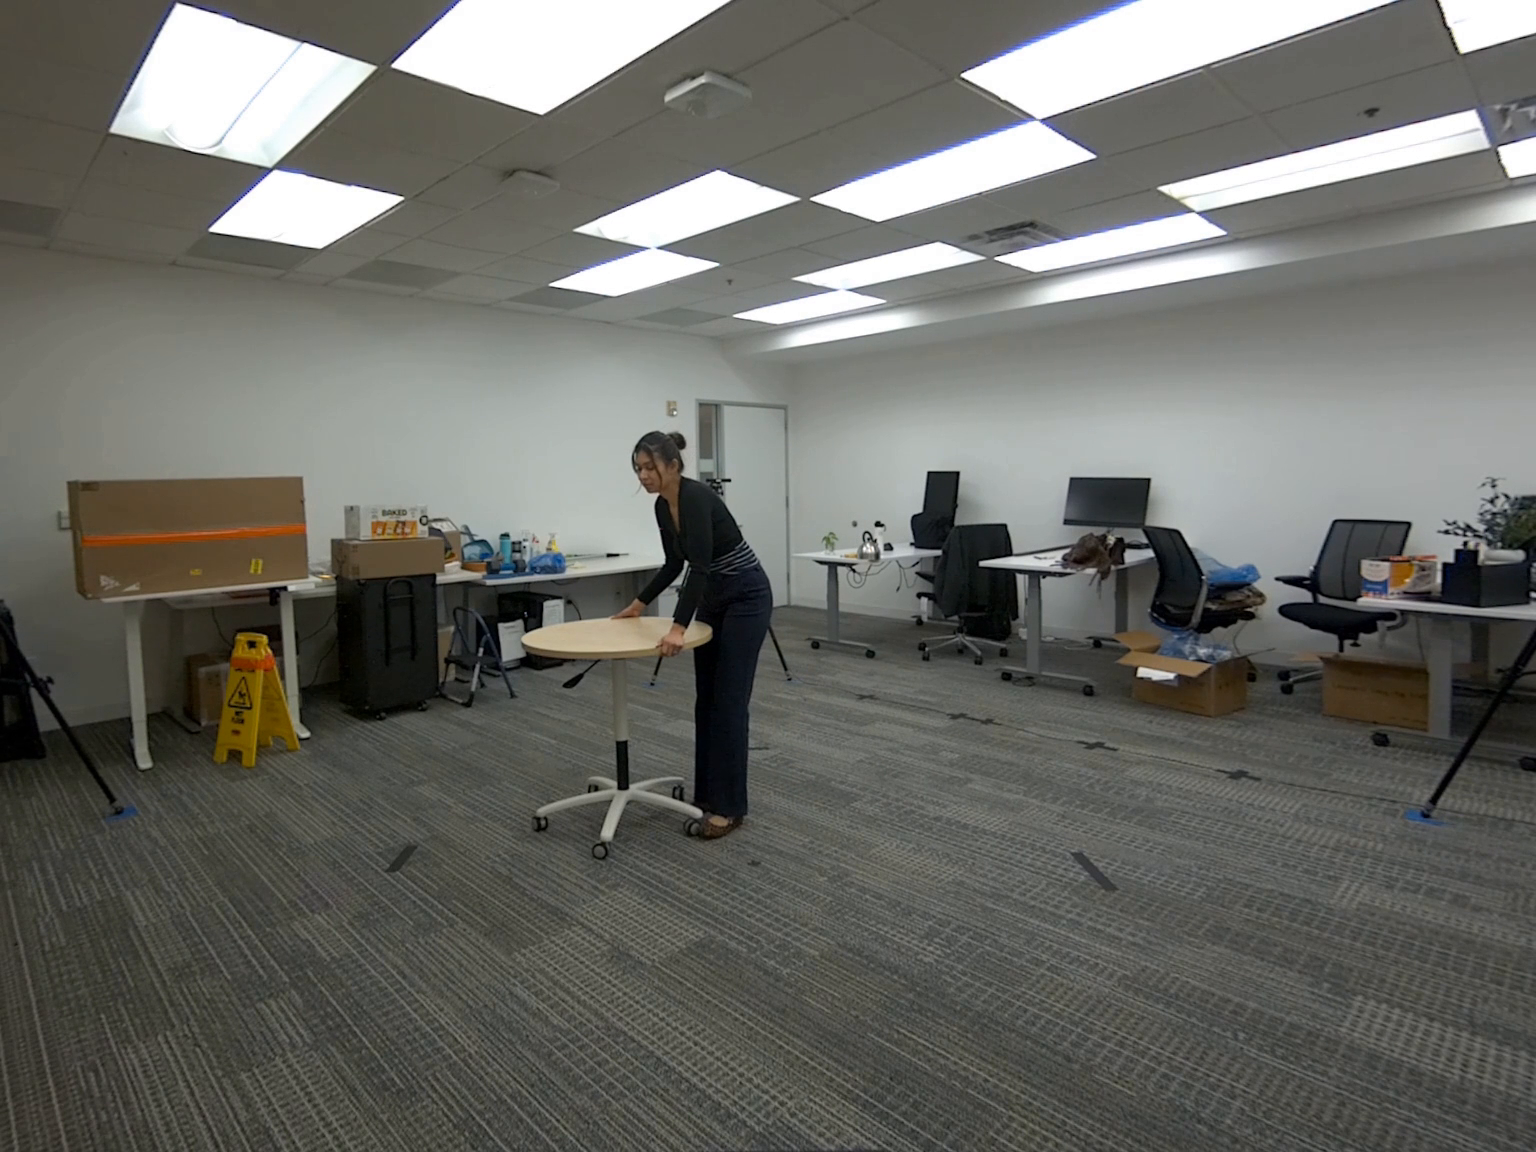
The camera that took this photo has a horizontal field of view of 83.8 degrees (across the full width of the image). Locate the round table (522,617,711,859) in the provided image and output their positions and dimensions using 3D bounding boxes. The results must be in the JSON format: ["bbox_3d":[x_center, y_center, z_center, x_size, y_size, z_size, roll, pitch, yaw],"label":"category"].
[{"bbox_3d":[-0.592,0.620,3.477,0.763,0.791,0.768,-1,5,-2],"label":"round table"}]
